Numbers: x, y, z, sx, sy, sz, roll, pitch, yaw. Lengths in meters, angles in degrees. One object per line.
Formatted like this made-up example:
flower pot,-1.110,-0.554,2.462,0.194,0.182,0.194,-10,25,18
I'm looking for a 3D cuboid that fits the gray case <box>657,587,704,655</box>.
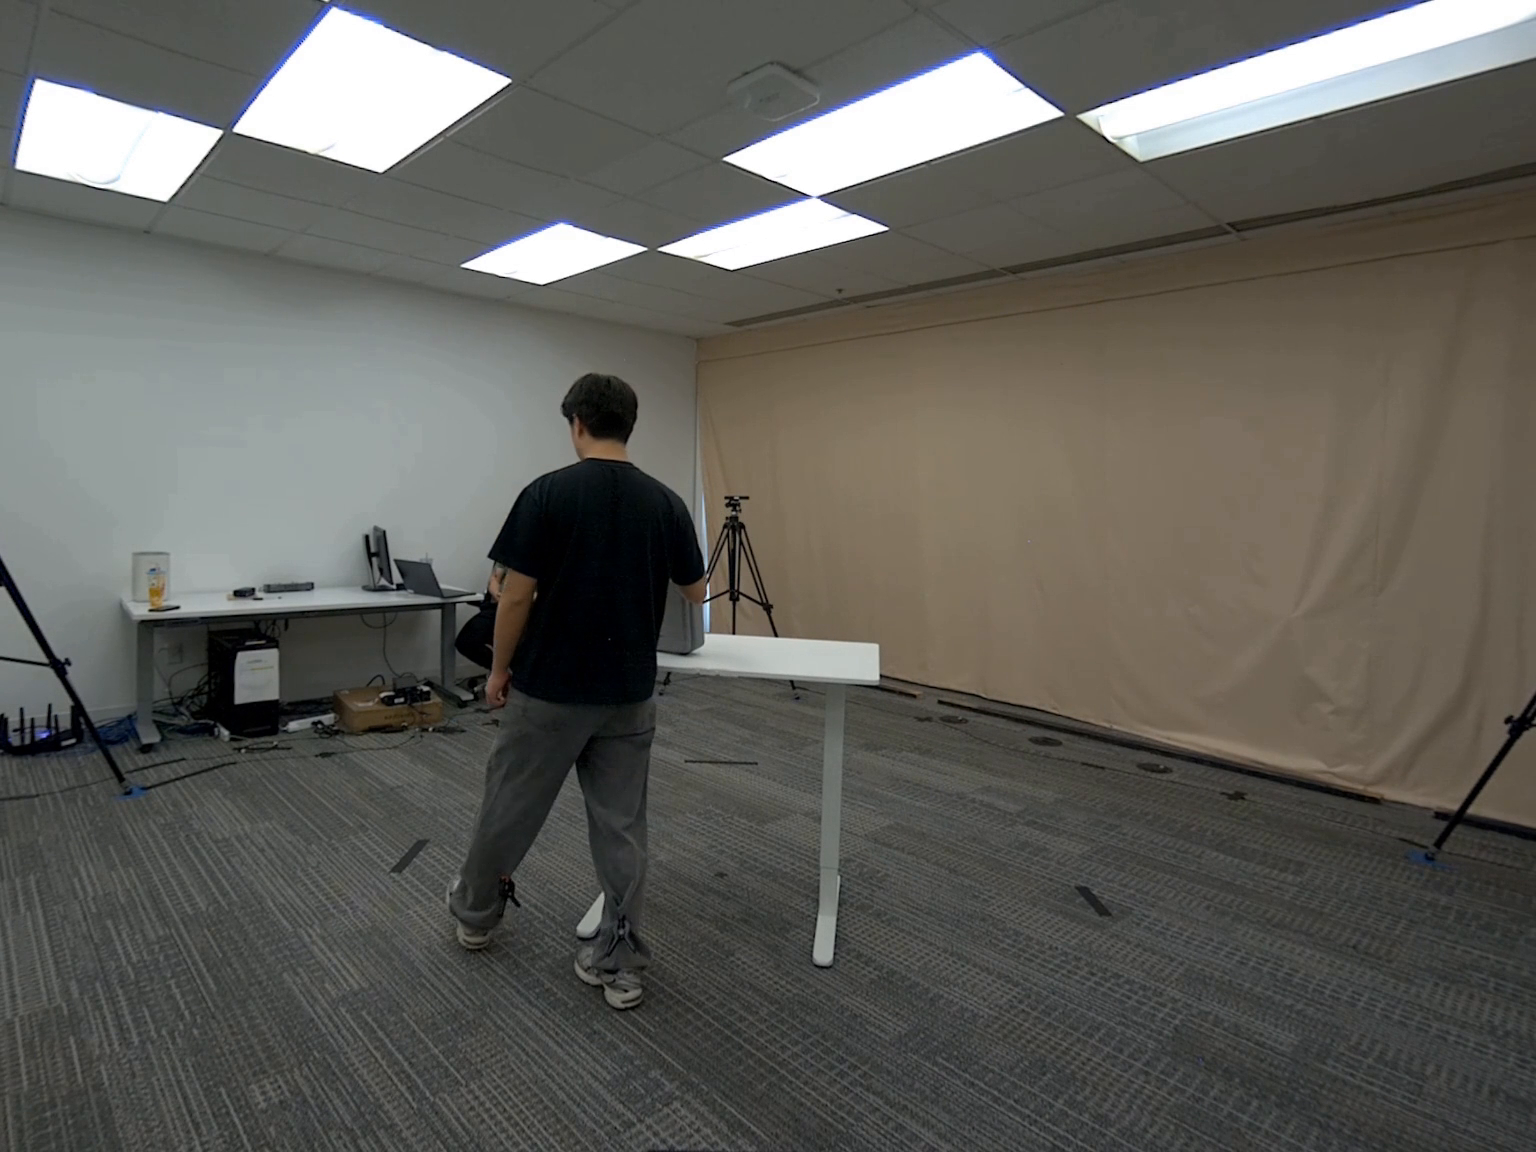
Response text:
gray case,-0.342,0.106,2.750,0.269,0.286,0.101,3,6,34
